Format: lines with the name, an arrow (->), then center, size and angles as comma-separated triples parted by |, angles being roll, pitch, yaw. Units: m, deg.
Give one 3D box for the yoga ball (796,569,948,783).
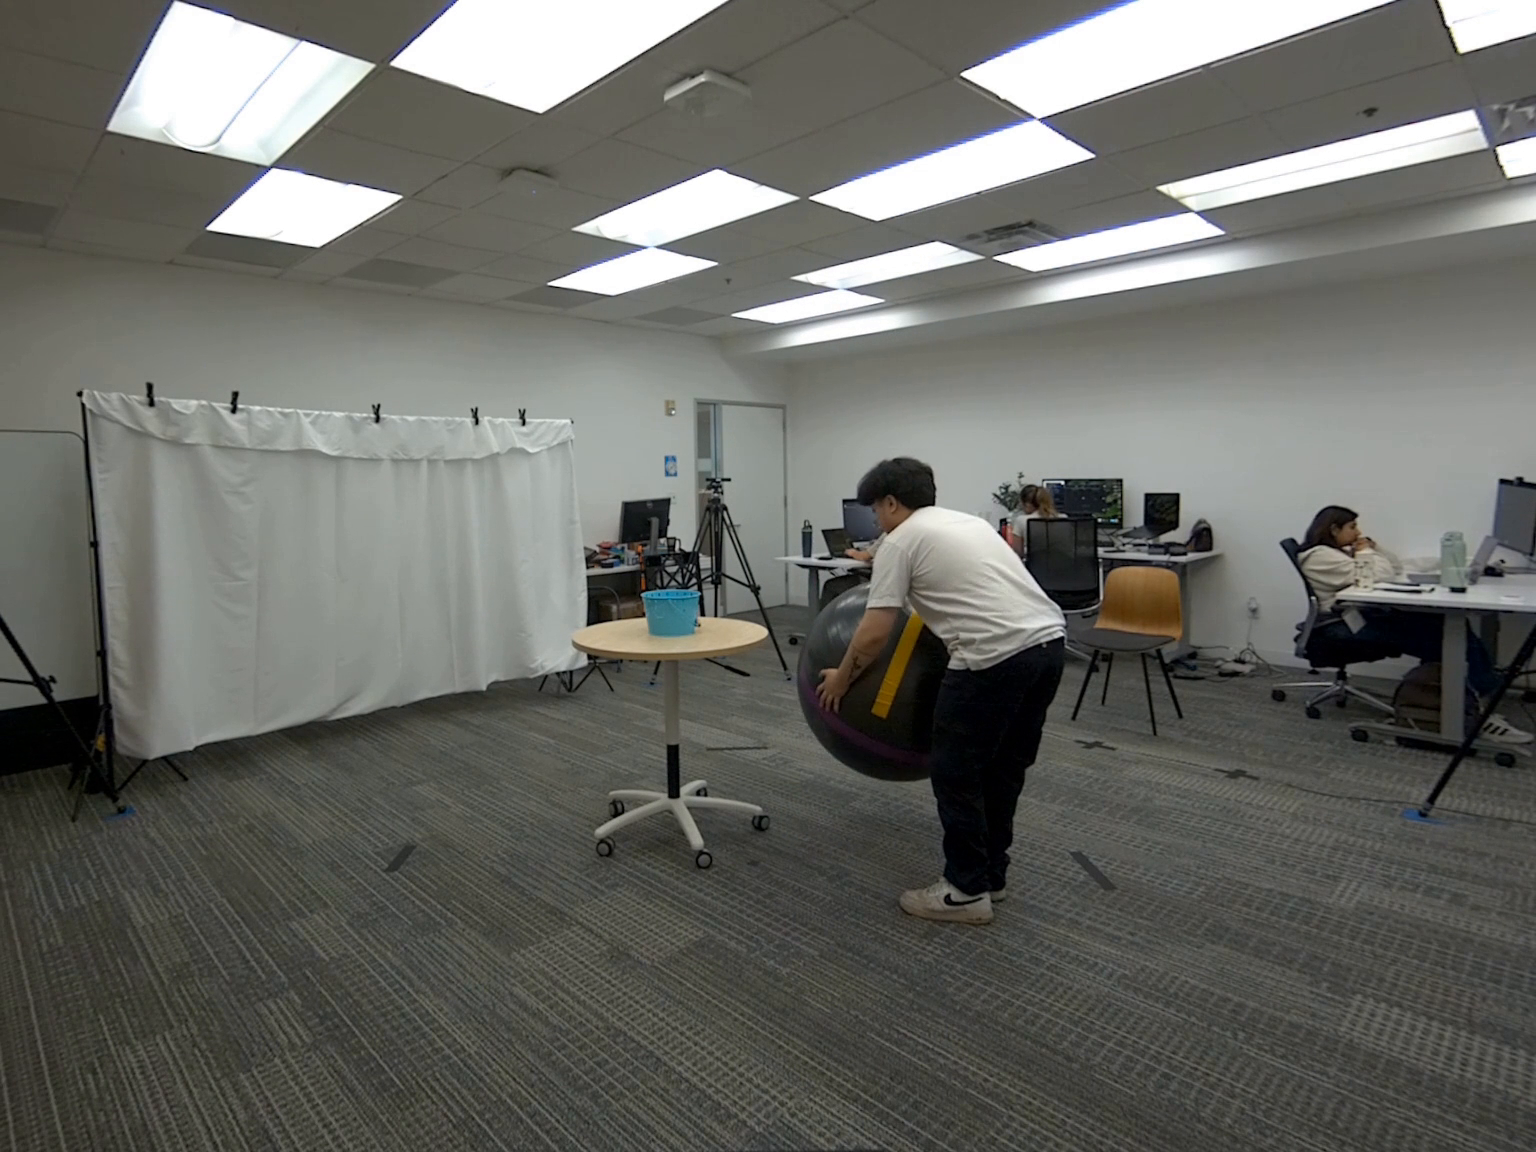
yoga ball -> 0.503, 0.400, 3.266 | 0.757, 0.755, 0.762 | -1, 5, -2
